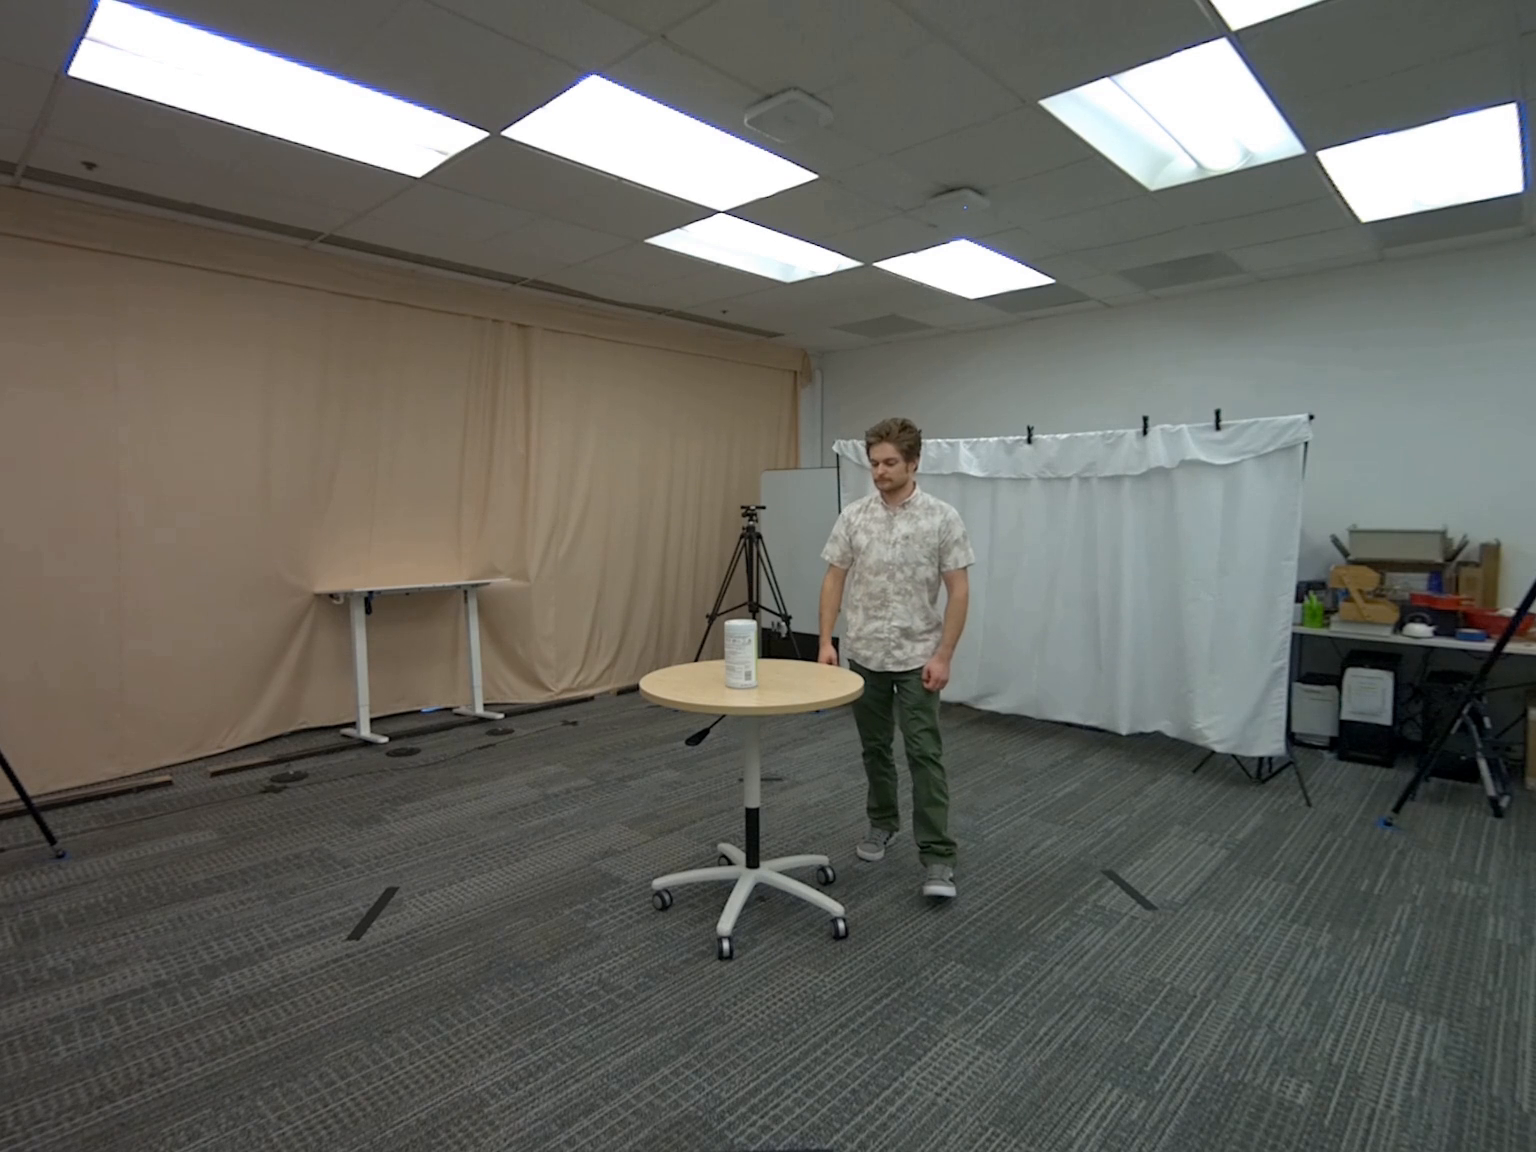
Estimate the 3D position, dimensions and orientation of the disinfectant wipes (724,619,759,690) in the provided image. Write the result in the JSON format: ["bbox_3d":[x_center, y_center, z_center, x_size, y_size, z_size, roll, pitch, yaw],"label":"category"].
[{"bbox_3d":[-0.083,0.259,2.789,0.118,0.217,0.118,0,3,-2],"label":"disinfectant wipes"}]
